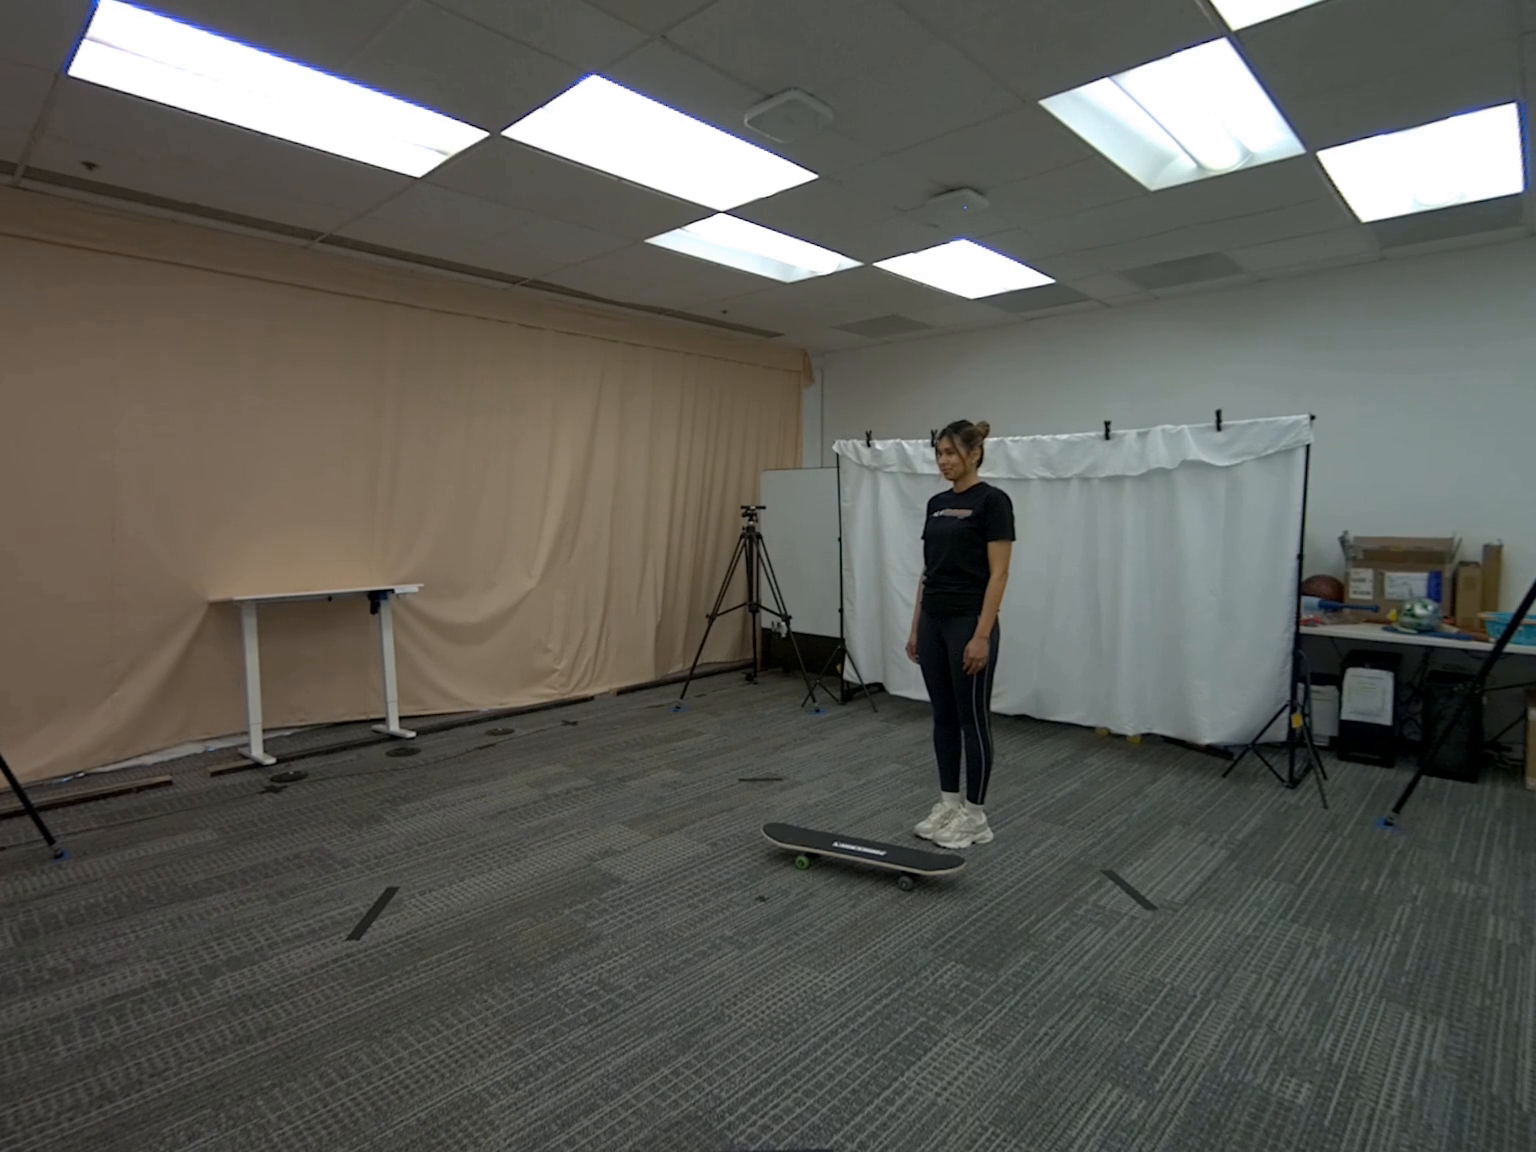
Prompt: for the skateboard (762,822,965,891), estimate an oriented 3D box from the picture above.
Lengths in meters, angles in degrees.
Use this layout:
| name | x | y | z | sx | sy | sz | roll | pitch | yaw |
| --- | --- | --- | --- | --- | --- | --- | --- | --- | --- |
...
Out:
| name | x | y | z | sx | sy | sz | roll | pitch | yaw |
| --- | --- | --- | --- | --- | --- | --- | --- | --- | --- |
| skateboard | 0.351 | 1.065 | 3.202 | 0.806 | 0.110 | 0.189 | 2 | 4 | 26 |
